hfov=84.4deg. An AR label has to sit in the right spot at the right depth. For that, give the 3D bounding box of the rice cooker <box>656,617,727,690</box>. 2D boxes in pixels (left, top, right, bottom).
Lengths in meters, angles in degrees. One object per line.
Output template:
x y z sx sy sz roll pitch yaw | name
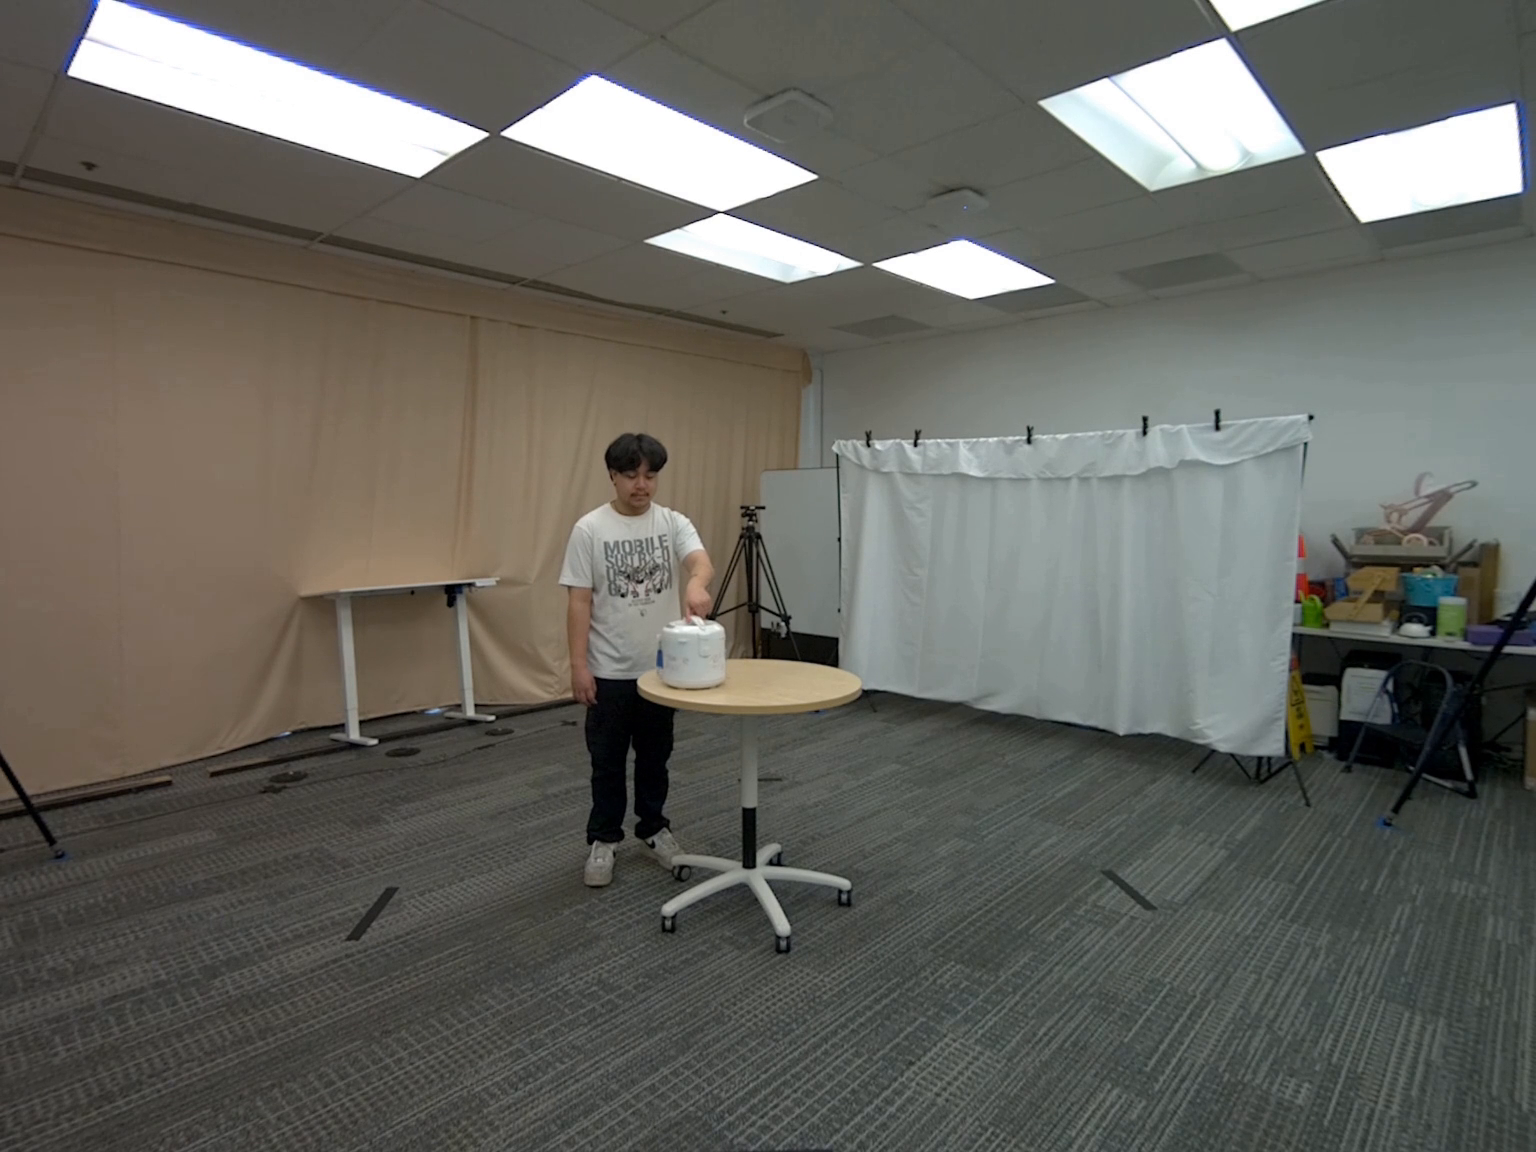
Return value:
-0.242 0.246 2.805 0.213 0.232 0.226 -2 5 -23 | rice cooker
